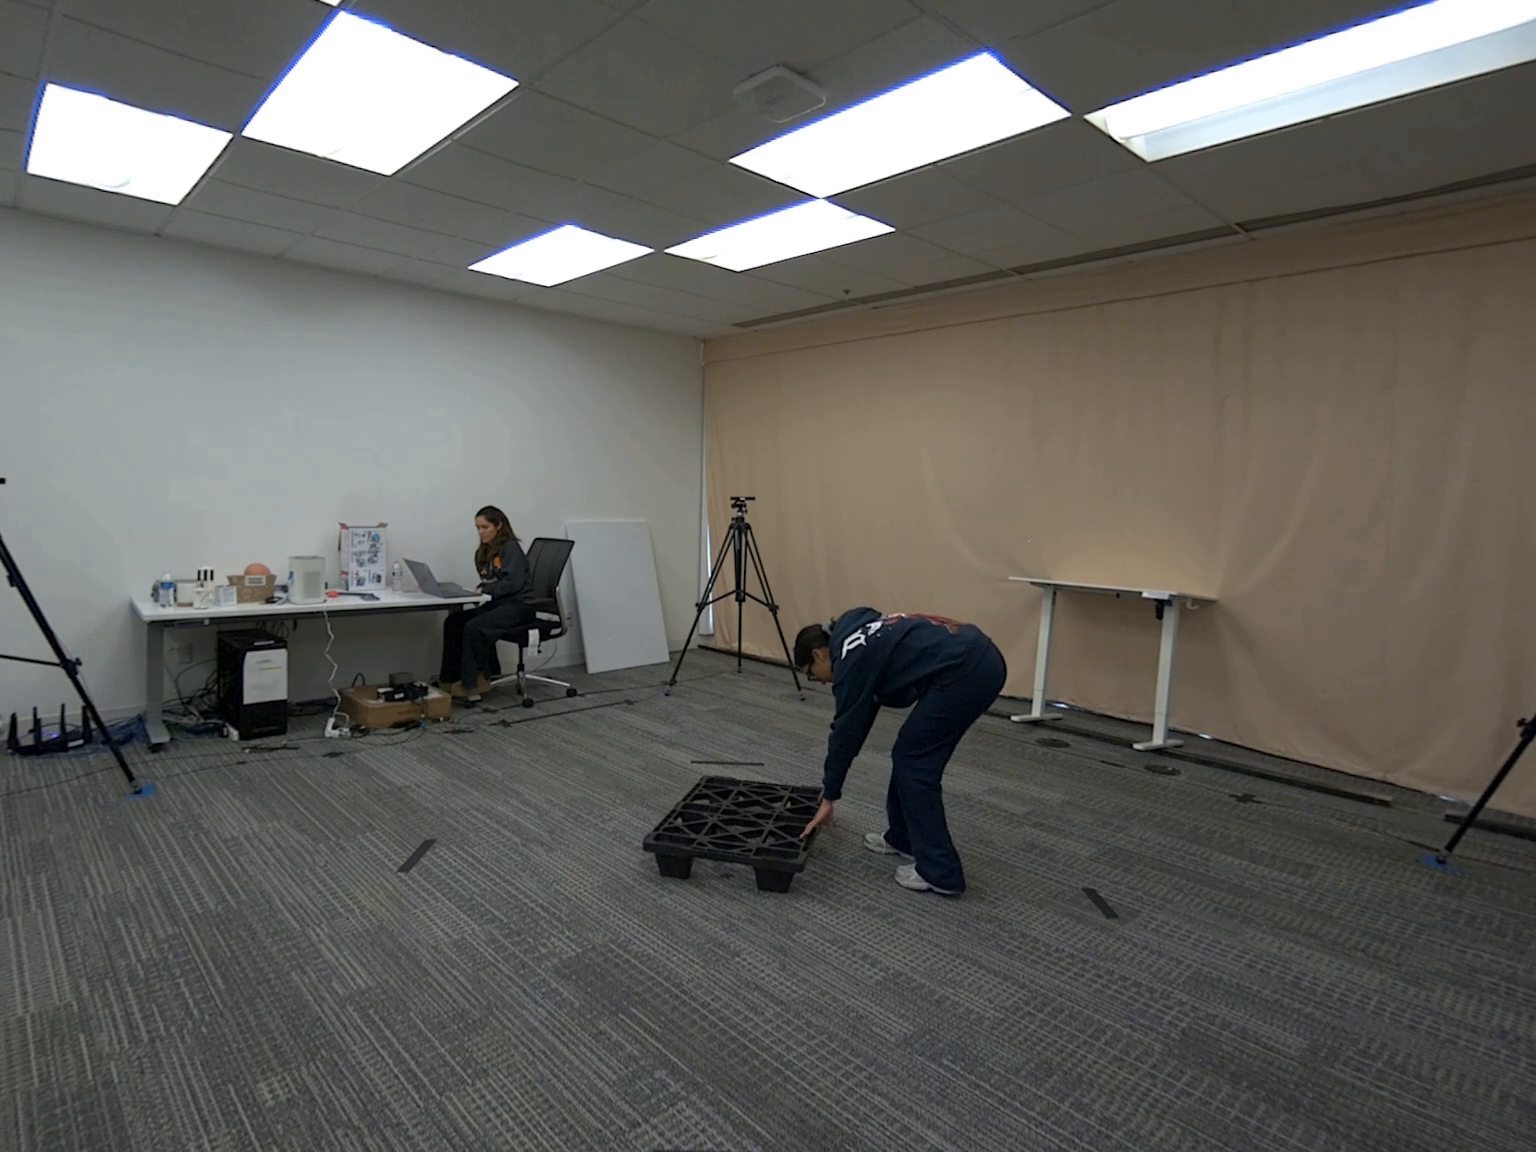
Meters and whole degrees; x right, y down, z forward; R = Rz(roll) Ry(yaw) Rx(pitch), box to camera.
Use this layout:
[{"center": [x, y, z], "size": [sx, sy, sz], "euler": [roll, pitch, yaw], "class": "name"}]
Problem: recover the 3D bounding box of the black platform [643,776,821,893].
[{"center": [-0.085, 1.014, 3.377], "size": [0.612, 0.143, 0.799], "euler": [3, 5, 13], "class": "black platform"}]
